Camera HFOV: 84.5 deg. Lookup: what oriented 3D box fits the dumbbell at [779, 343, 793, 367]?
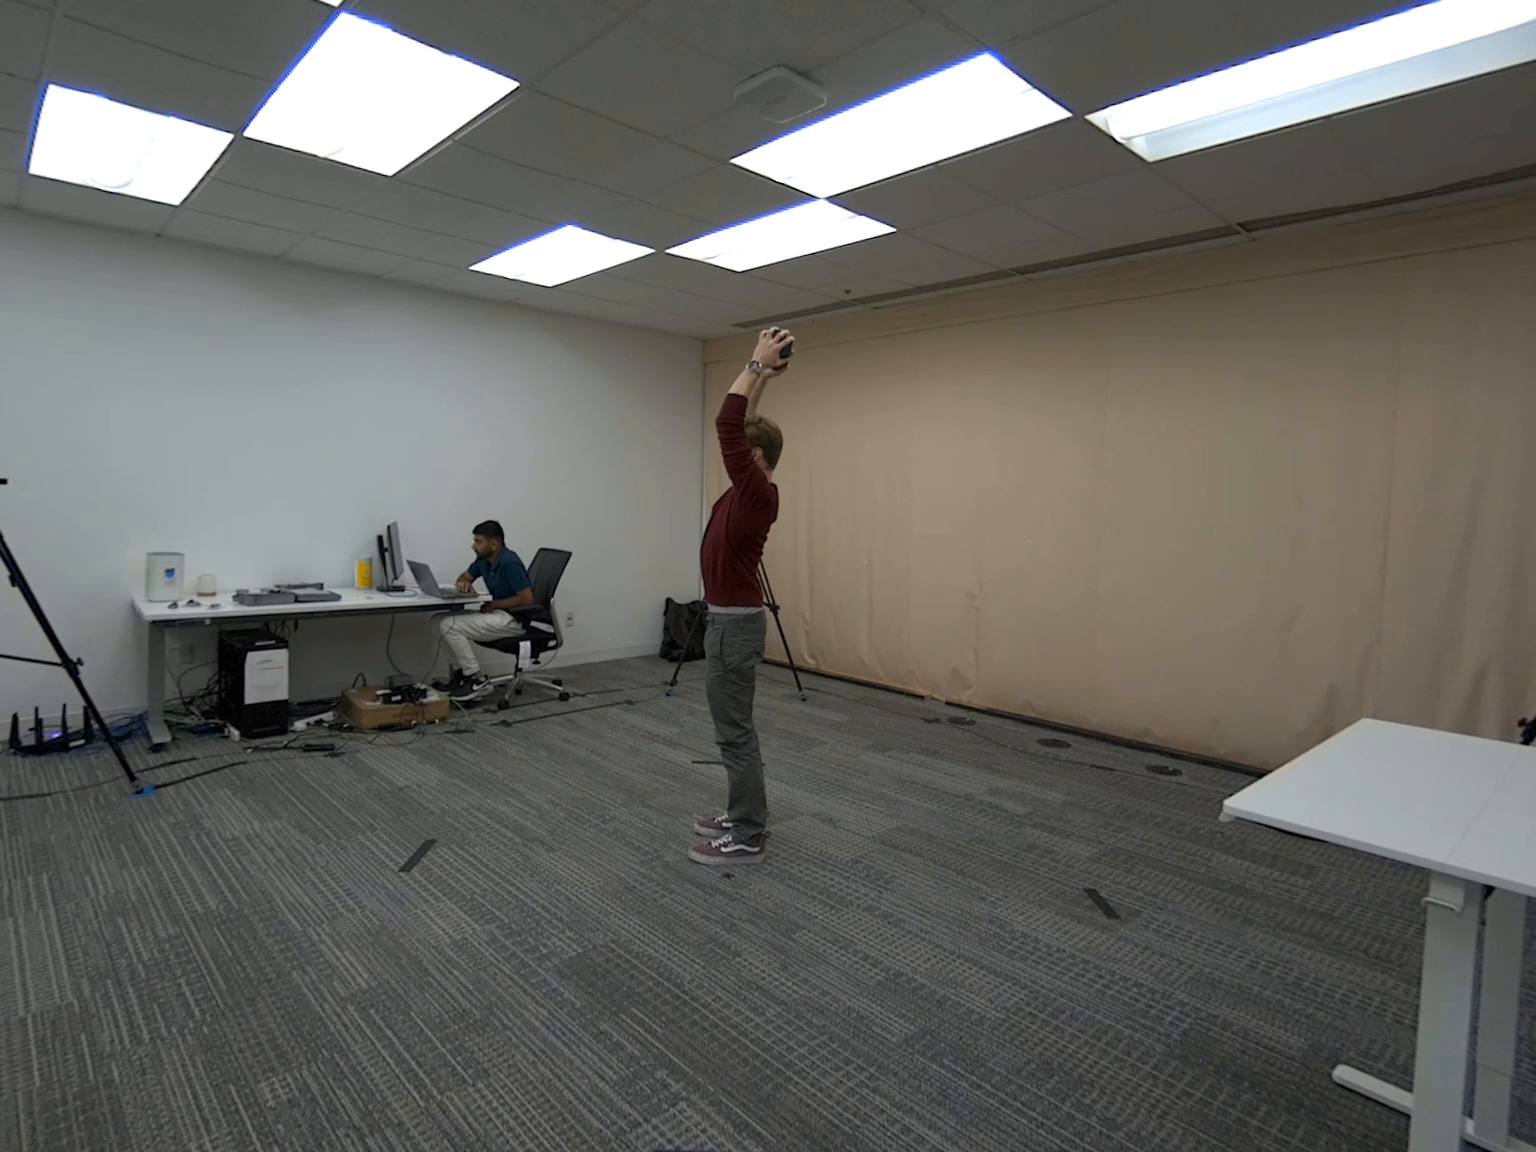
[{"bbox_3d":[0.028,-0.863,3.251,0.123,0.108,0.295,-13,6,1],"label":"dumbbell"}]
